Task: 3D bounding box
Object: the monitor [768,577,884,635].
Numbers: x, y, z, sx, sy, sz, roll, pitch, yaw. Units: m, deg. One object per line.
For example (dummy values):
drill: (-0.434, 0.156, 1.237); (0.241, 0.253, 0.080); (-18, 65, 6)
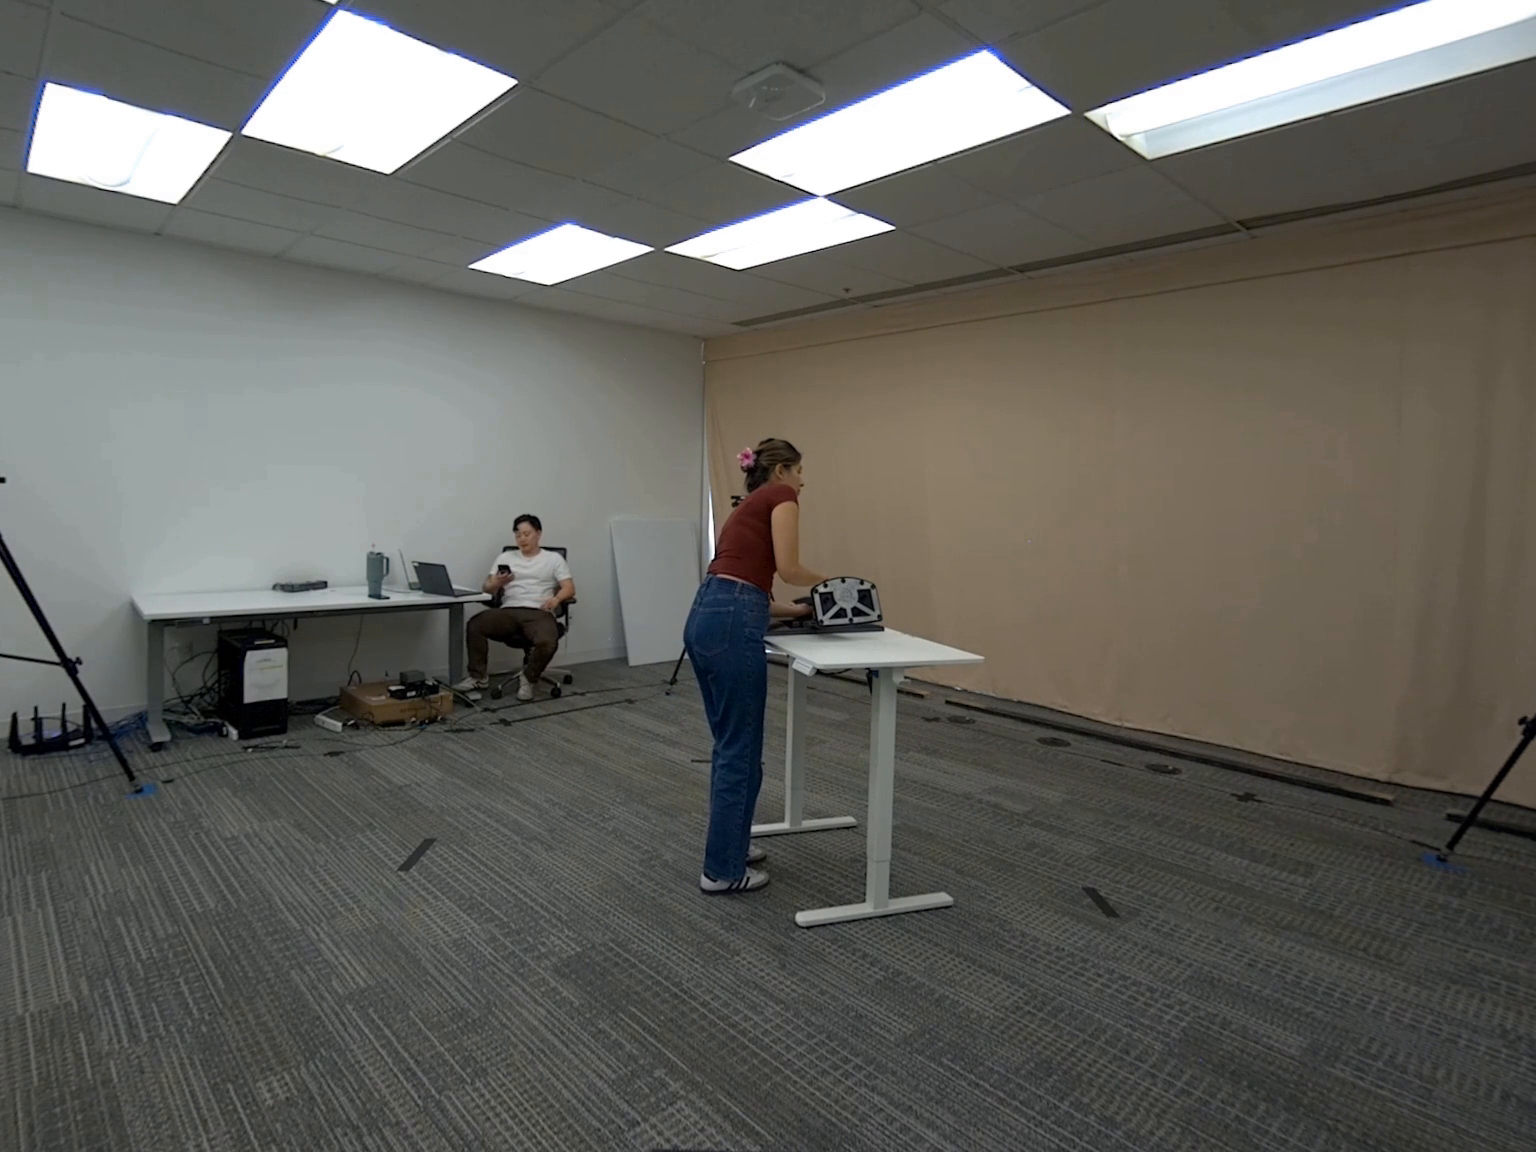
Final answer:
monitor: (0.177, 0.150, 3.306); (0.529, 0.189, 0.527); (0, -11, -25)
